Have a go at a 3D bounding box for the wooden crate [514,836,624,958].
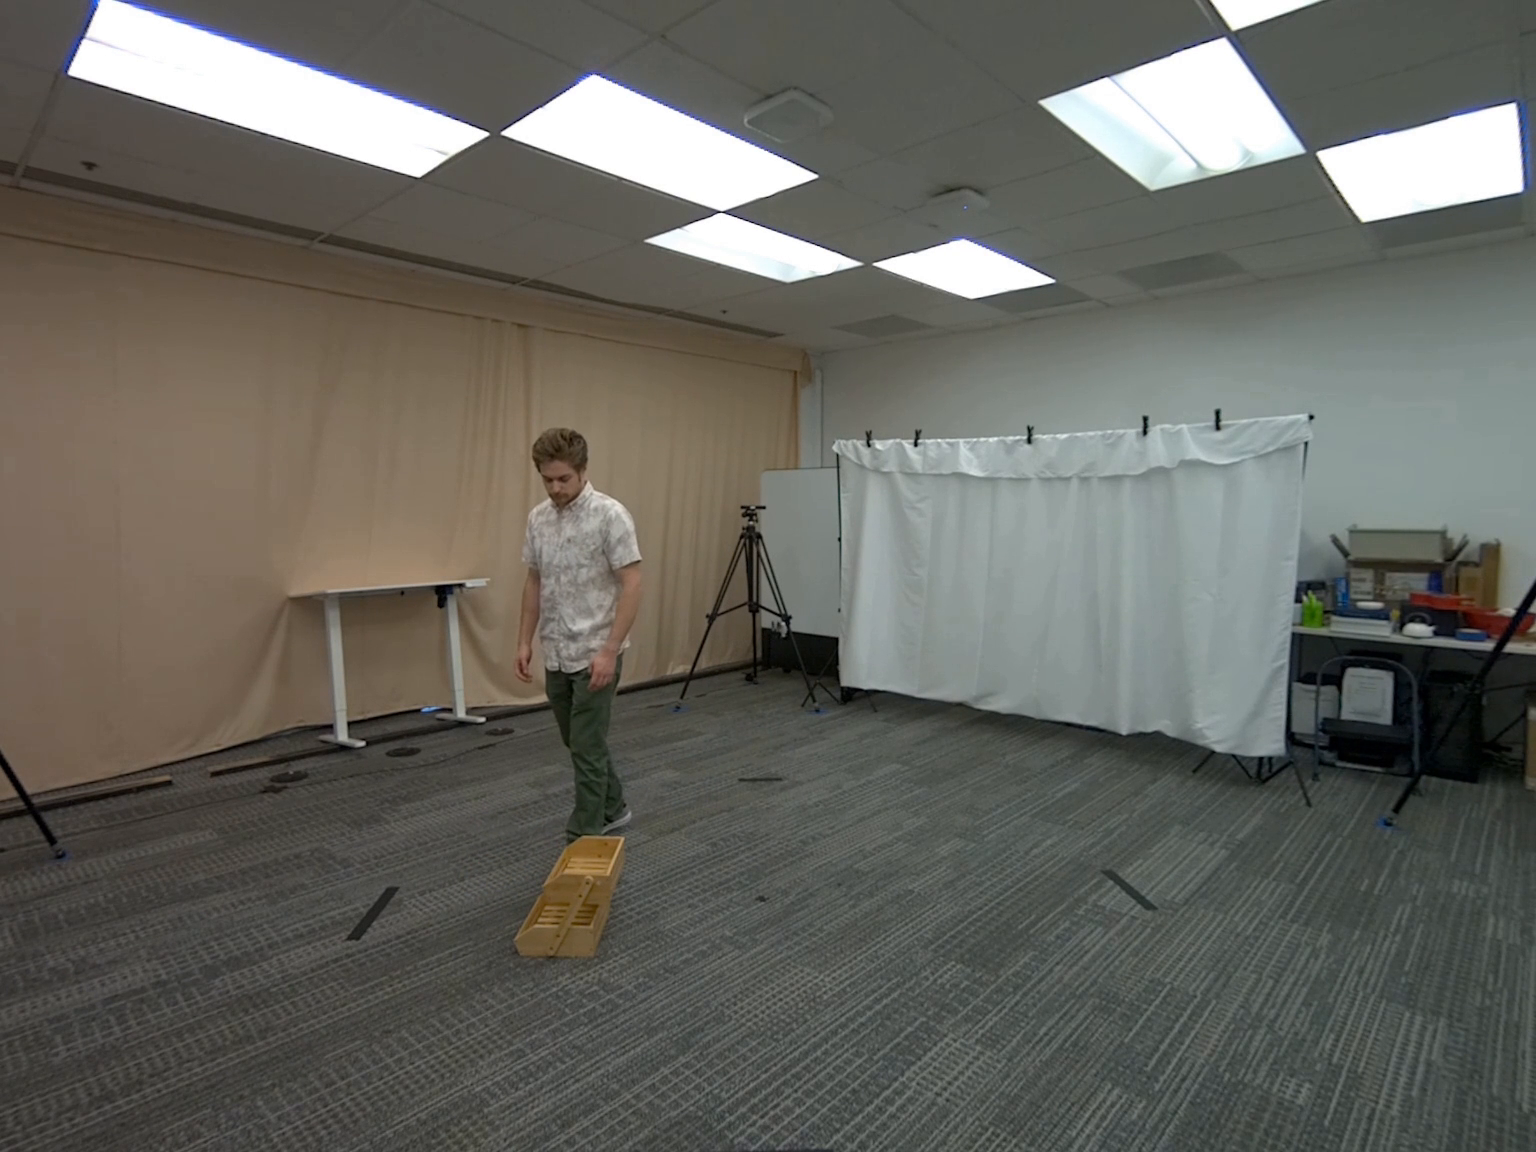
[{"bbox_3d":[-0.650,1.038,2.747,0.302,0.273,0.325,-1,4,1],"label":"wooden crate"}]
